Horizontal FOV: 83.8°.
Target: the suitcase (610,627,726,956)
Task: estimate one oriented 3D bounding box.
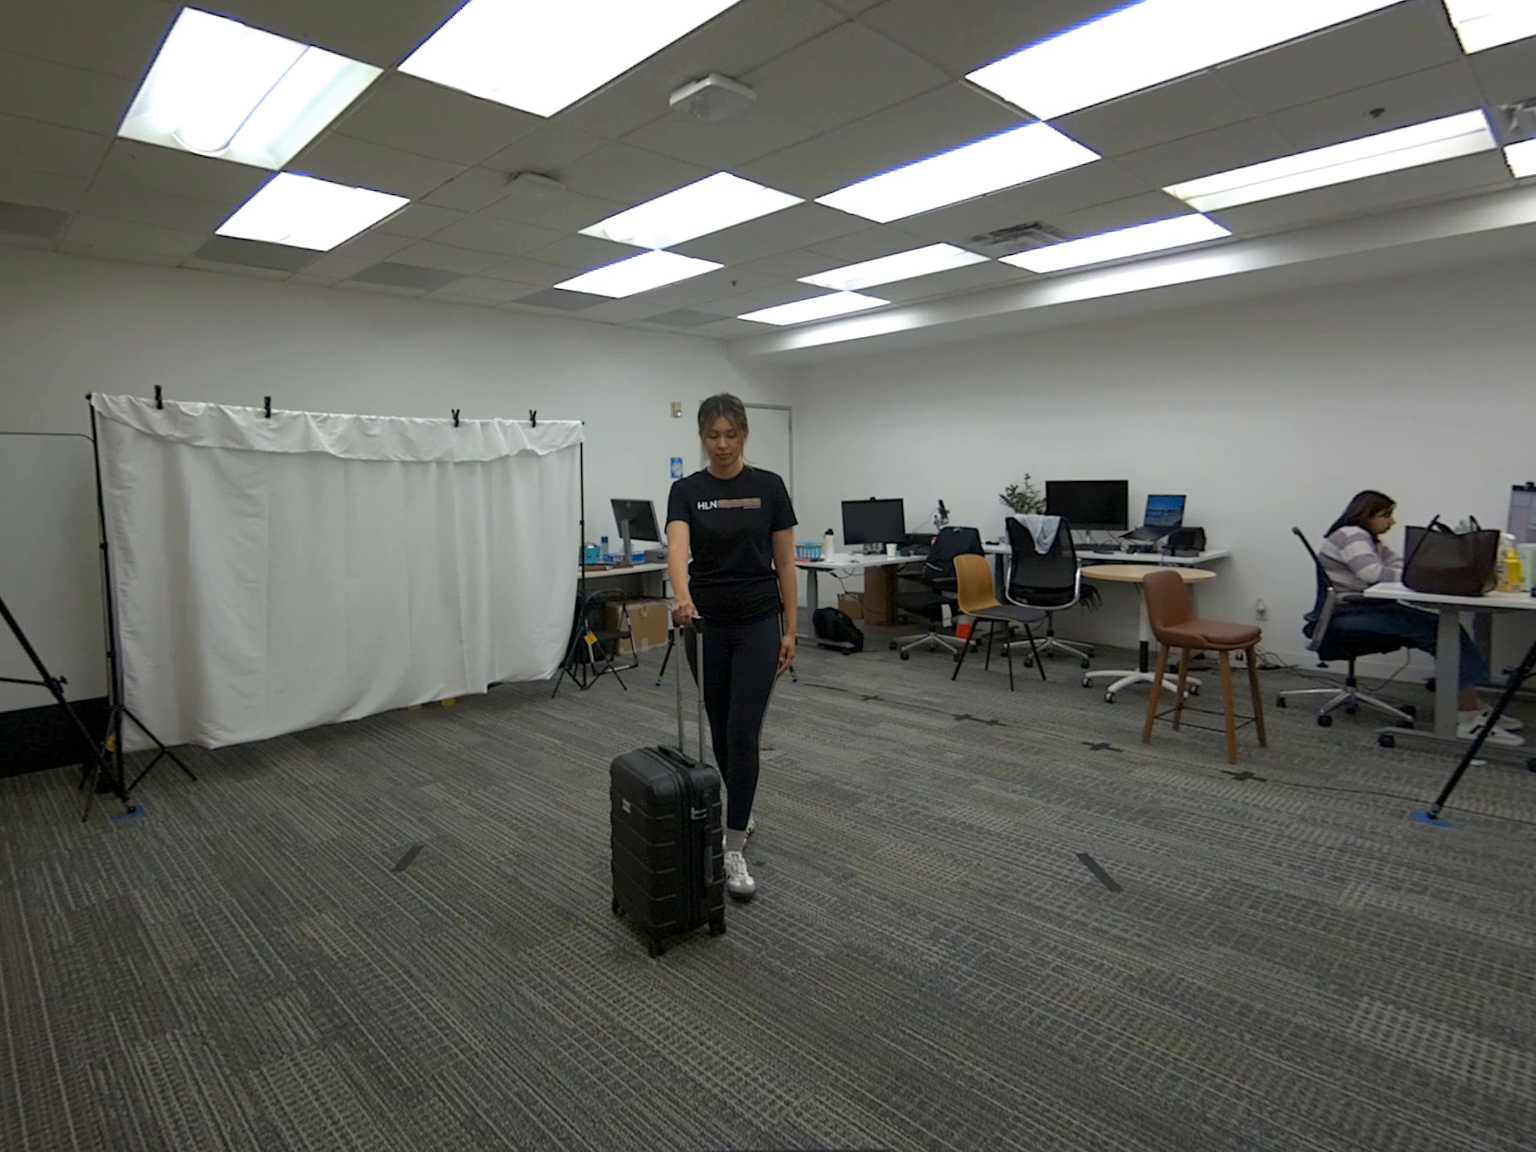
[{"bbox_3d":[-0.326,0.630,2.651,0.251,0.974,0.394,-4,5,-28],"label":"suitcase"}]
